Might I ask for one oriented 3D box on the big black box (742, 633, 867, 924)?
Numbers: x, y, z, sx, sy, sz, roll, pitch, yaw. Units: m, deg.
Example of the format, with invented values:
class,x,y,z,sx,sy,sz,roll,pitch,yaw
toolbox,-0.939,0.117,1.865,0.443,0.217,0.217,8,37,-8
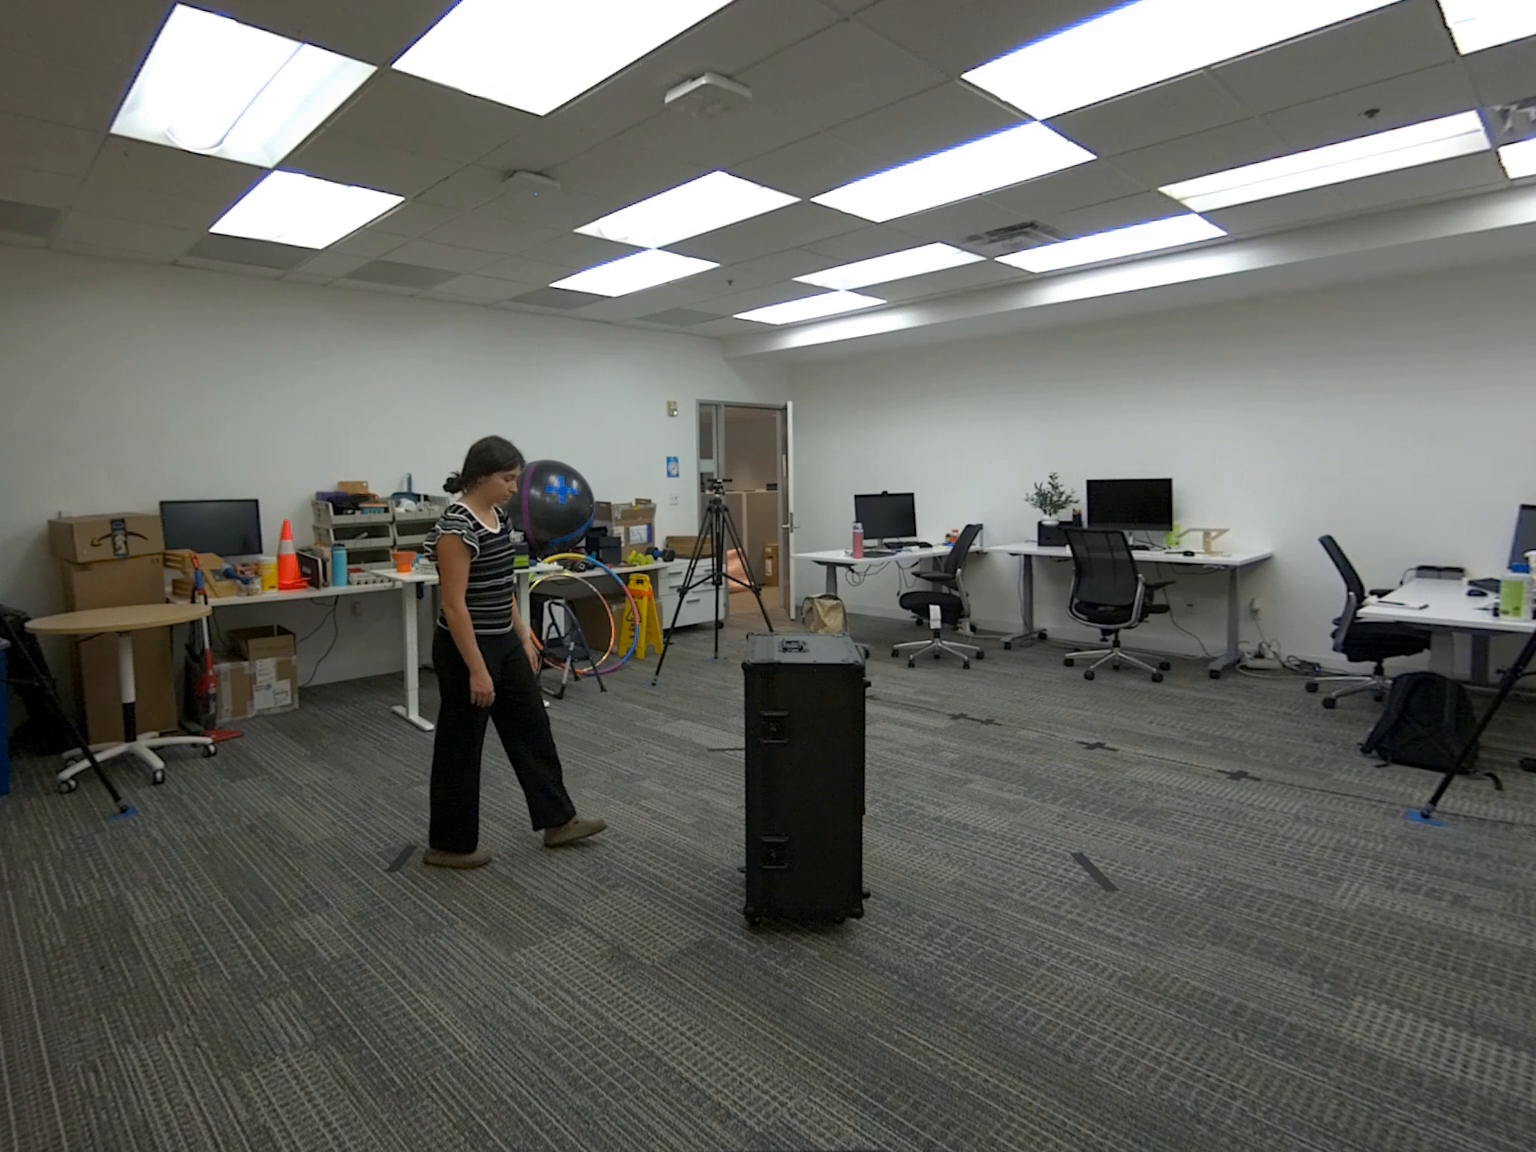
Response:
class,x,y,z,sx,sy,sz,roll,pitch,yaw
big black box,0.123,0.654,2.795,0.397,0.859,0.521,0,4,2
